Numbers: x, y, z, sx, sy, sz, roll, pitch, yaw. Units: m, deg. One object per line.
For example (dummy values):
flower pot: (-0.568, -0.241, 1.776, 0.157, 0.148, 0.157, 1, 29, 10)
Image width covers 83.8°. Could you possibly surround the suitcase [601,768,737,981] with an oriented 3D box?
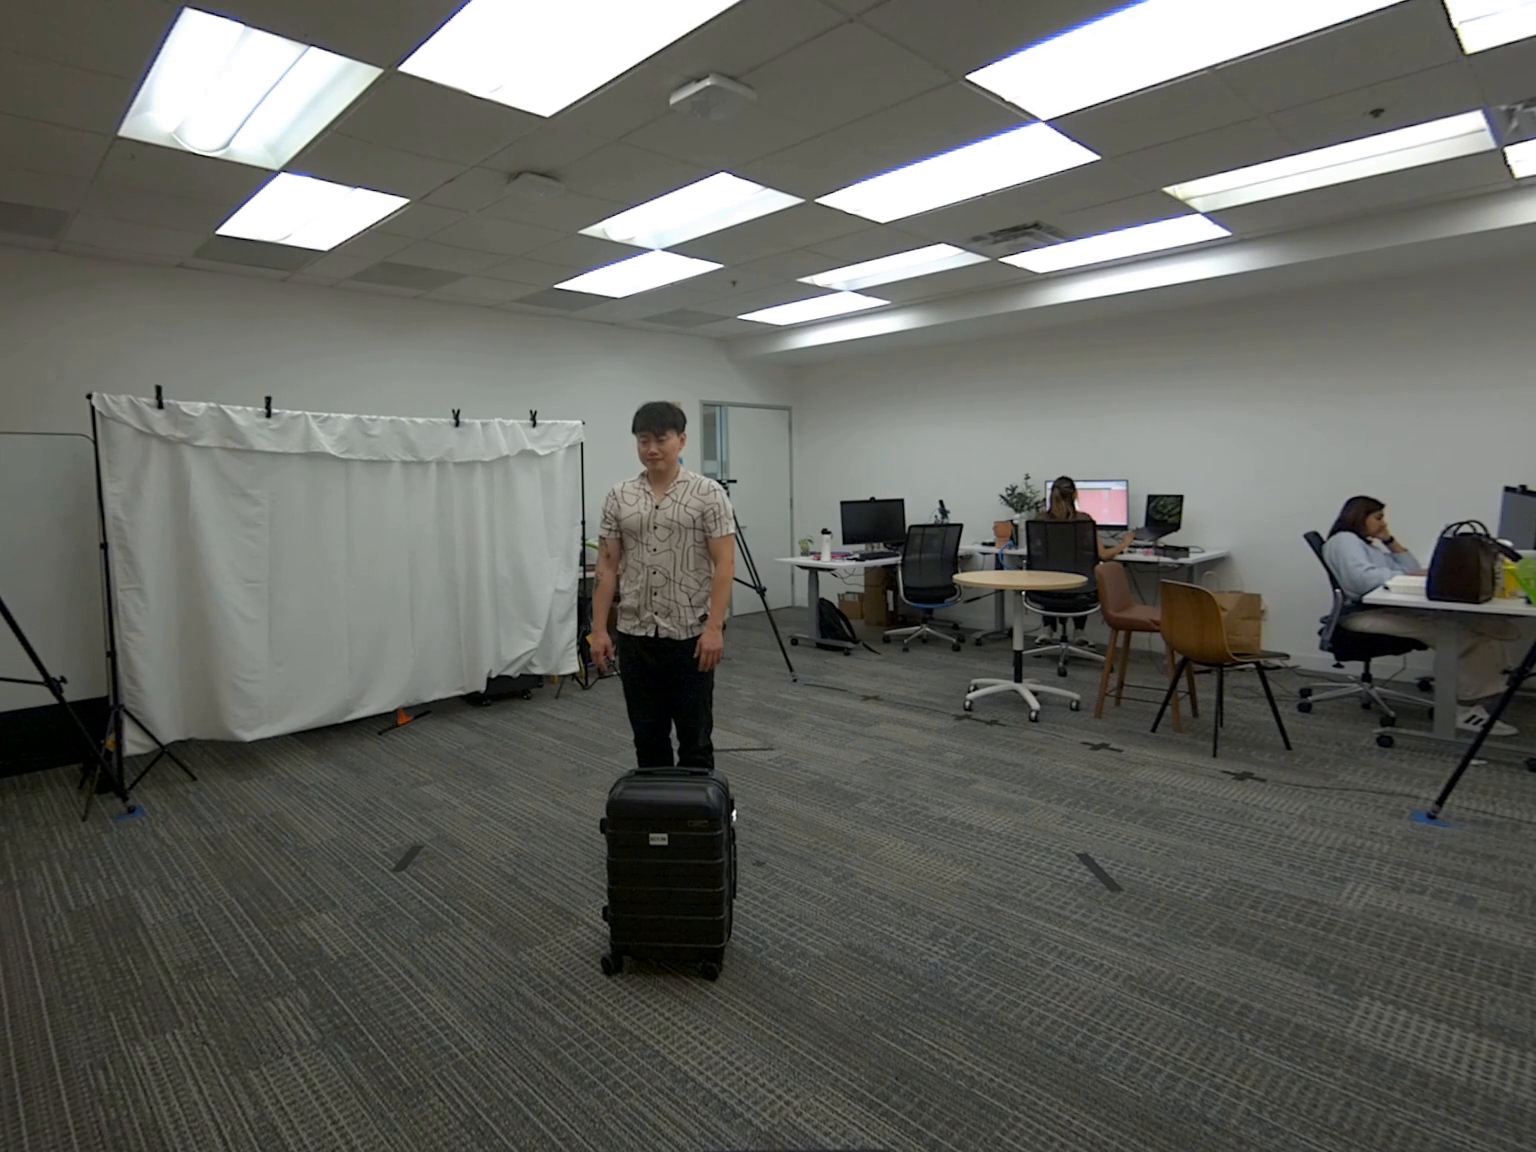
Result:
suitcase: (-0.283, 0.850, 2.505, 0.377, 0.547, 0.248, 1, 5, 5)
